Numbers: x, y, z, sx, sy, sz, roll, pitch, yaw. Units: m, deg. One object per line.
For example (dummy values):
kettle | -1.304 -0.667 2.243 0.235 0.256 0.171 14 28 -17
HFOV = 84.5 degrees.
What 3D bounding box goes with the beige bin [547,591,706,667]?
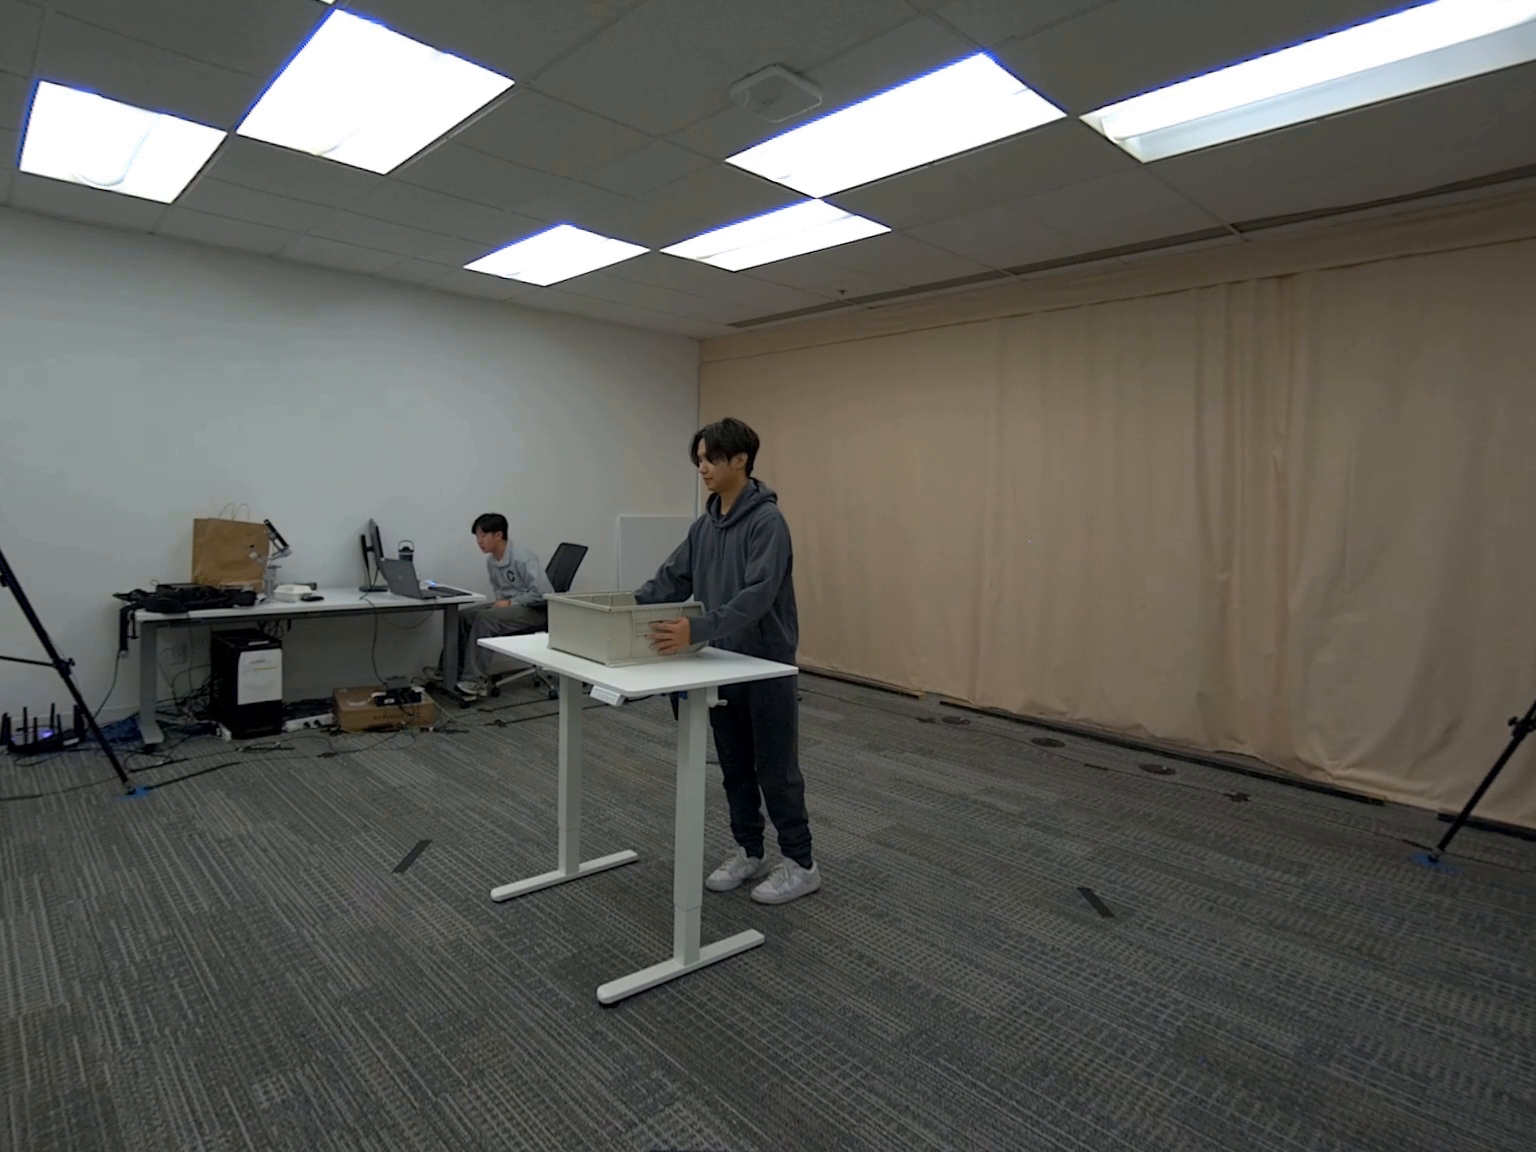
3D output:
beige bin | -0.482 0.167 2.717 0.369 0.188 0.433 -2 6 -41
